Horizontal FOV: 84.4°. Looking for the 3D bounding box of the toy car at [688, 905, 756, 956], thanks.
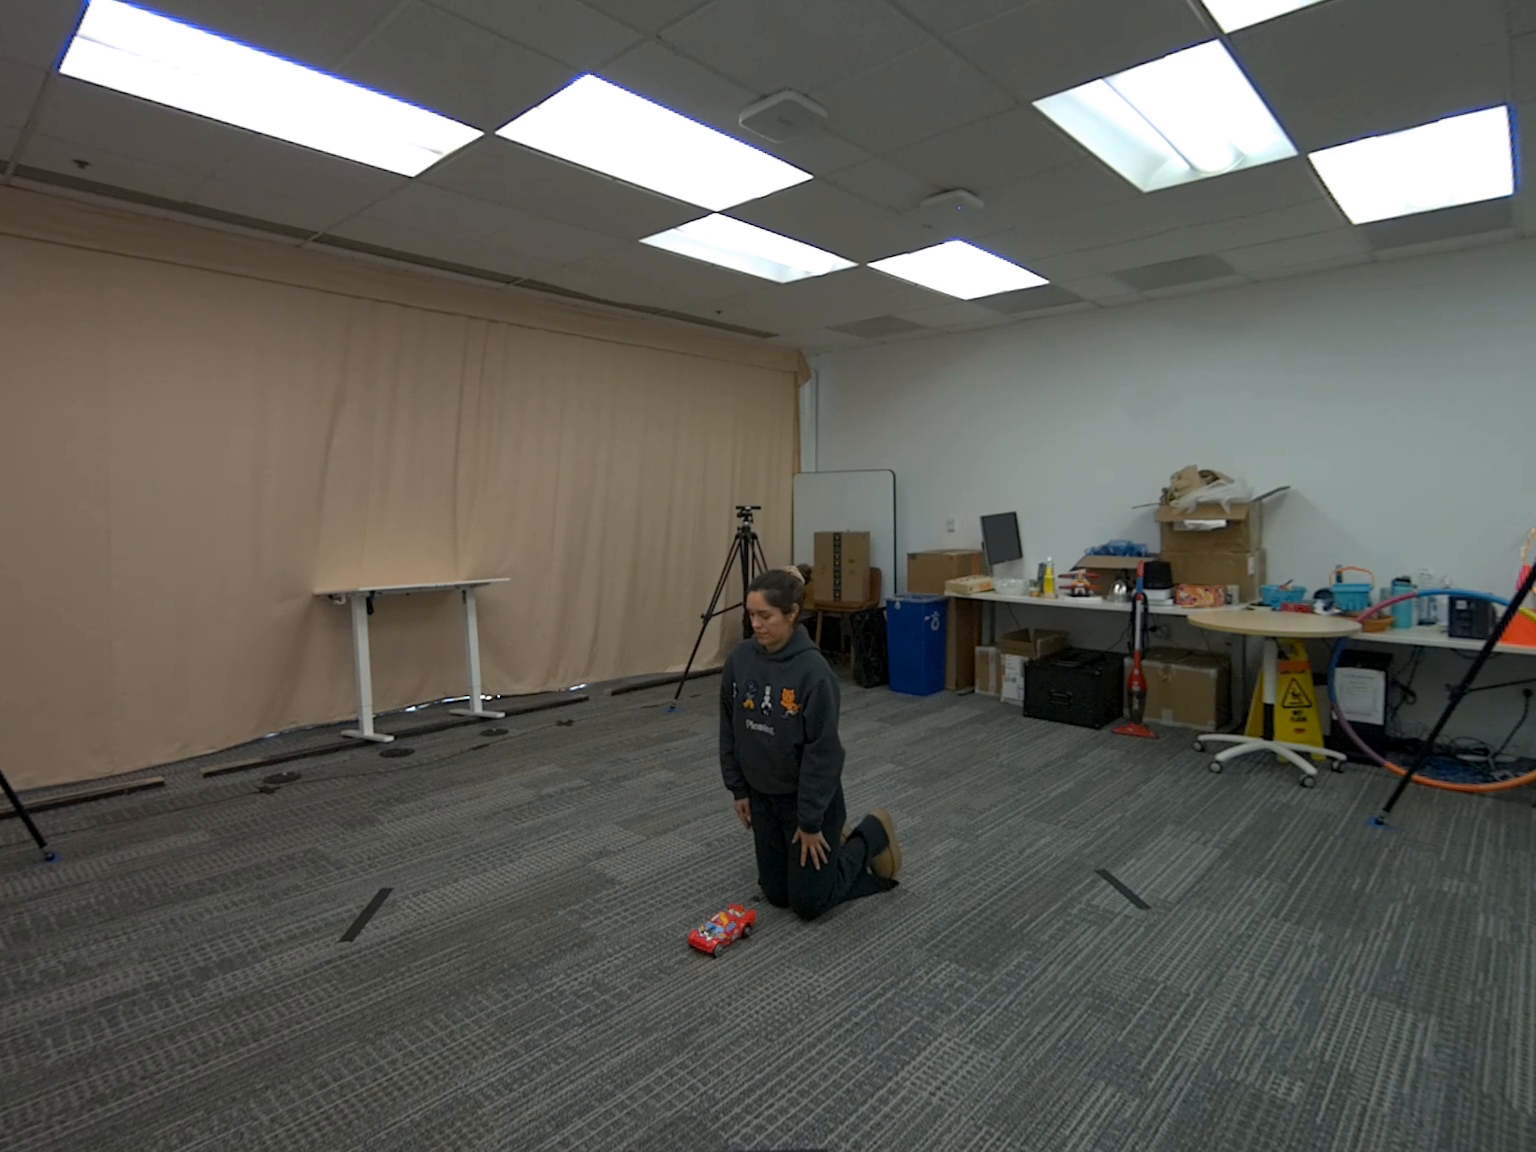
[{"bbox_3d":[-0.120,1.133,2.706,0.134,0.082,0.249,2,17,39],"label":"toy car"}]
